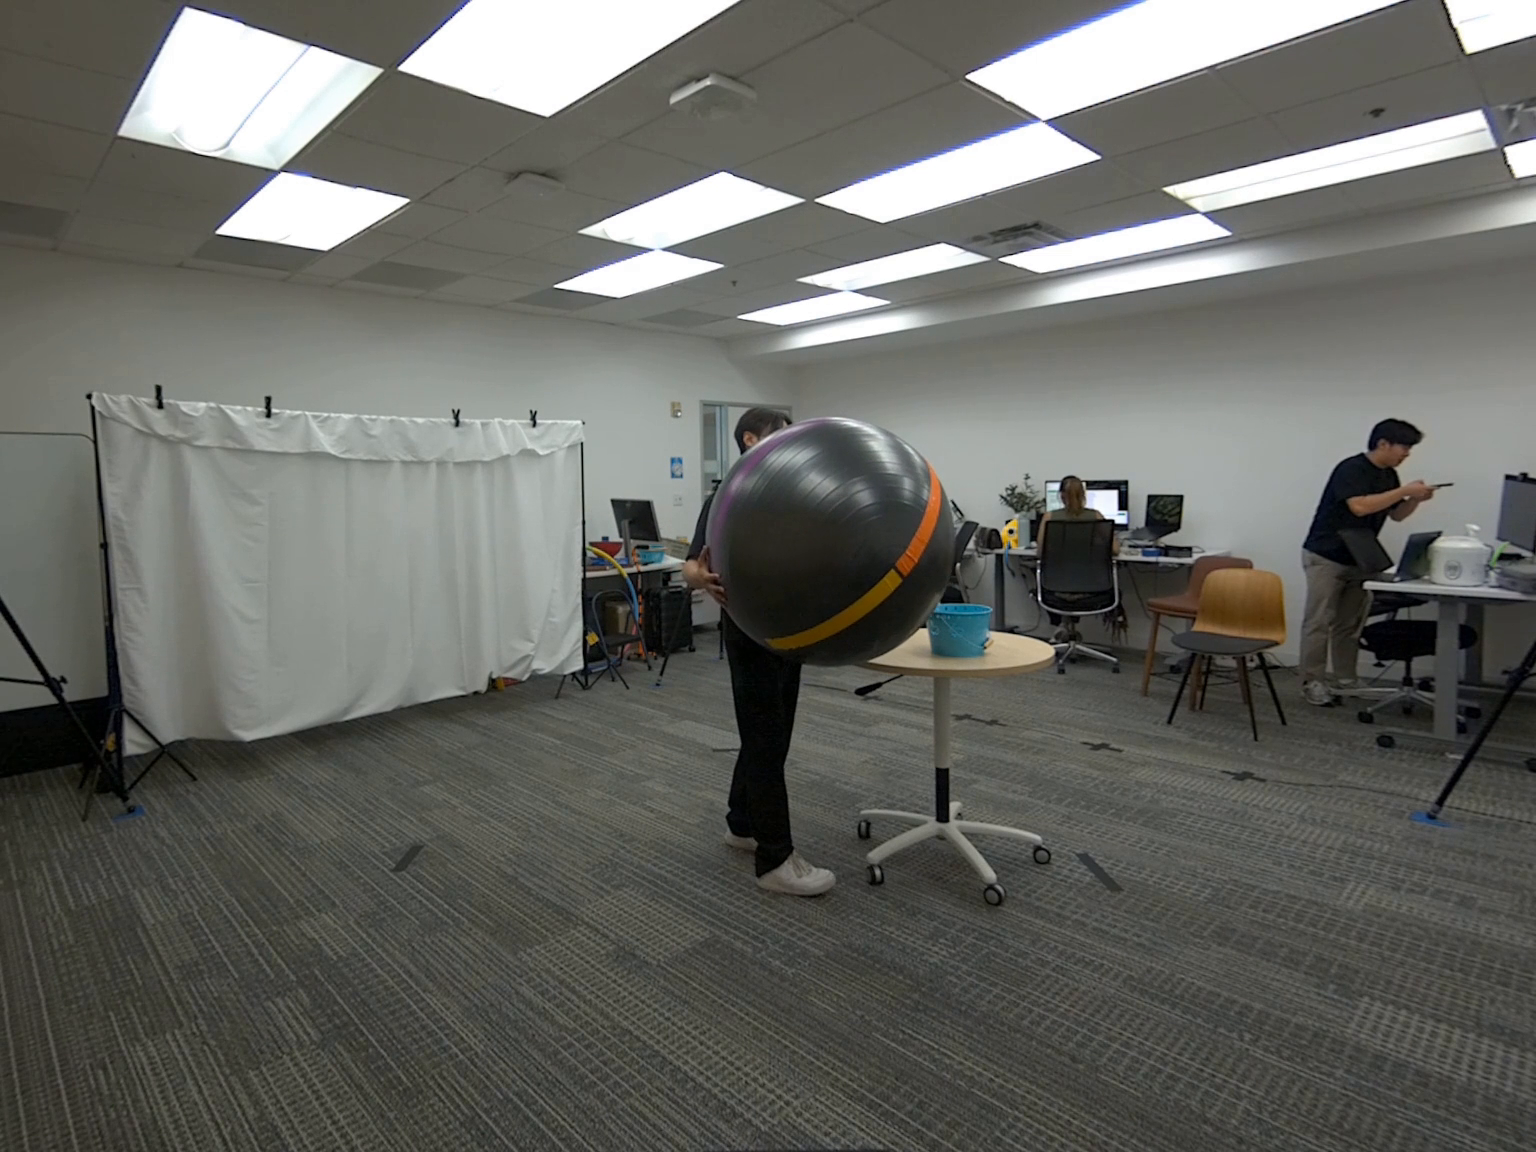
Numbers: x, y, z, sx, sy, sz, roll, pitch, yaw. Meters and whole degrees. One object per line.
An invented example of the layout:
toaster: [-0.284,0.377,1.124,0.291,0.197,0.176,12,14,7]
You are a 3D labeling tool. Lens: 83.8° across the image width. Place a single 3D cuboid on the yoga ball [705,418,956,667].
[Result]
yoga ball: [0.192,-0.100,2.624,0.757,0.755,0.762,-1,5,-2]
